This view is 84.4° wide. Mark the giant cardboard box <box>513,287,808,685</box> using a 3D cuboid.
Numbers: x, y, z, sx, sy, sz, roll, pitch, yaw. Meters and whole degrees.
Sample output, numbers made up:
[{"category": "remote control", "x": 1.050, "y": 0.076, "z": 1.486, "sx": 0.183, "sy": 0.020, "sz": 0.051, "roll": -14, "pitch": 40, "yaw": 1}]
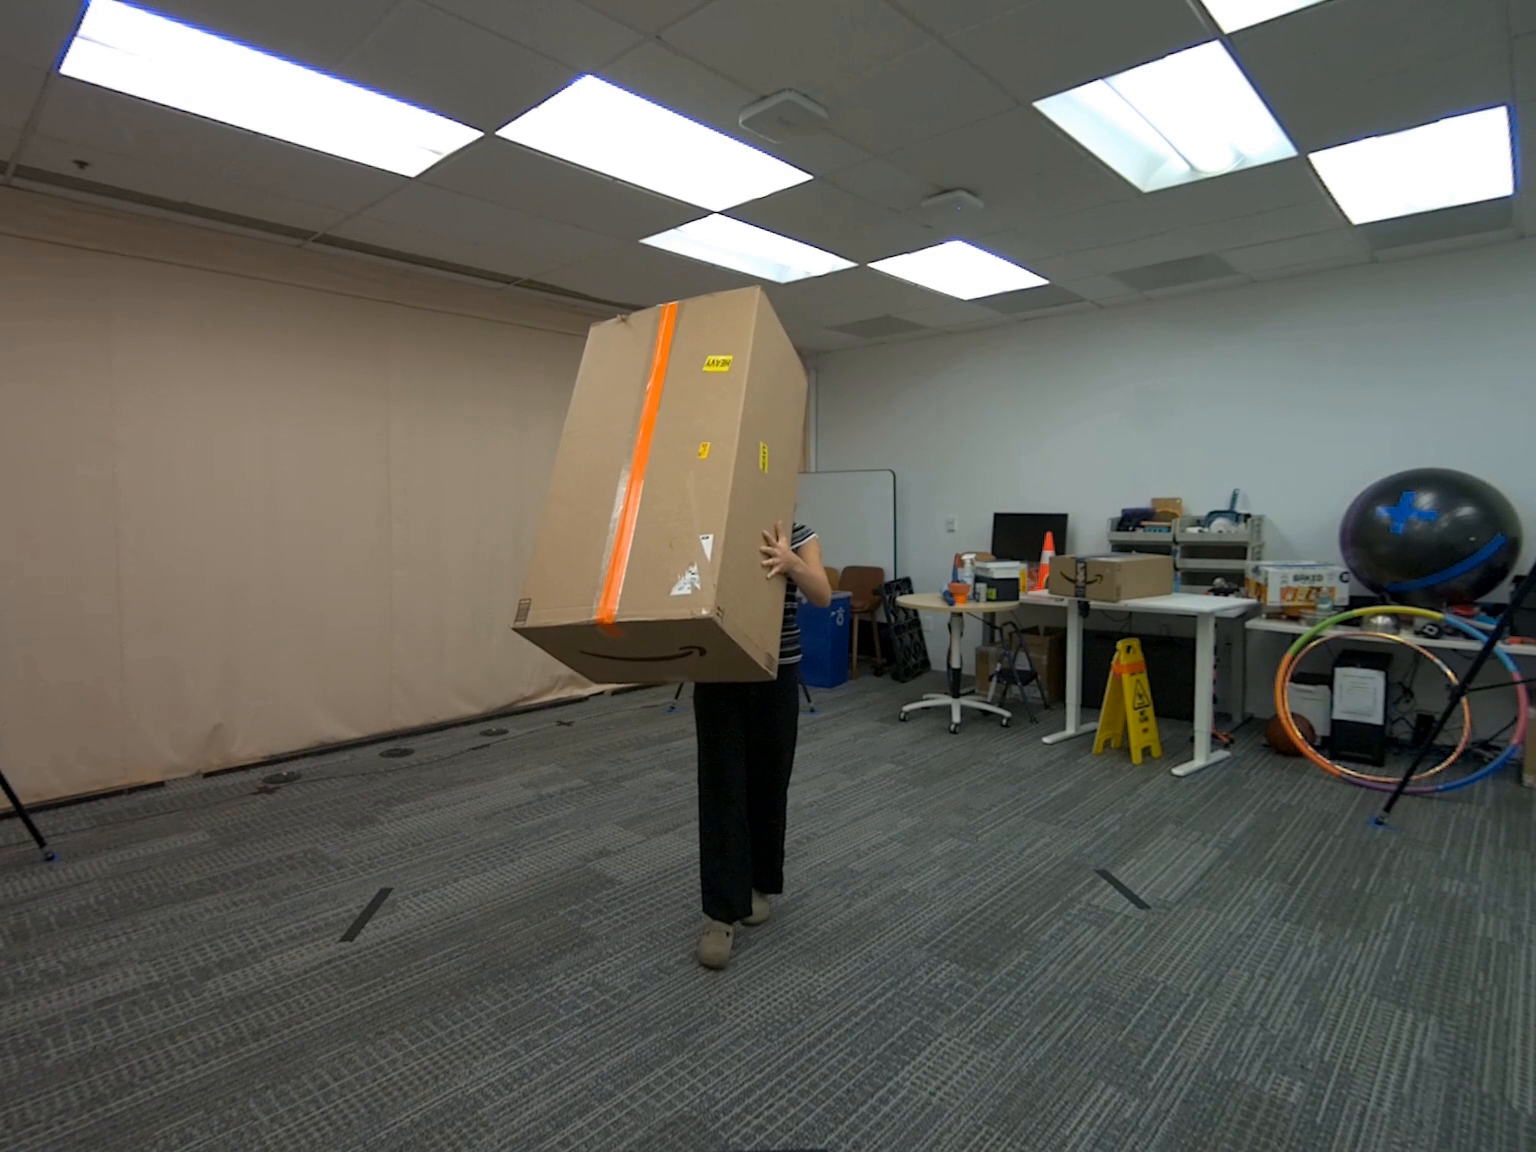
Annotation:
[{"category": "giant cardboard box", "x": -0.259, "y": -0.244, "z": 2.420, "sx": 0.591, "sy": 1.037, "sz": 0.412, "roll": -5, "pitch": -29, "yaw": 23}]
